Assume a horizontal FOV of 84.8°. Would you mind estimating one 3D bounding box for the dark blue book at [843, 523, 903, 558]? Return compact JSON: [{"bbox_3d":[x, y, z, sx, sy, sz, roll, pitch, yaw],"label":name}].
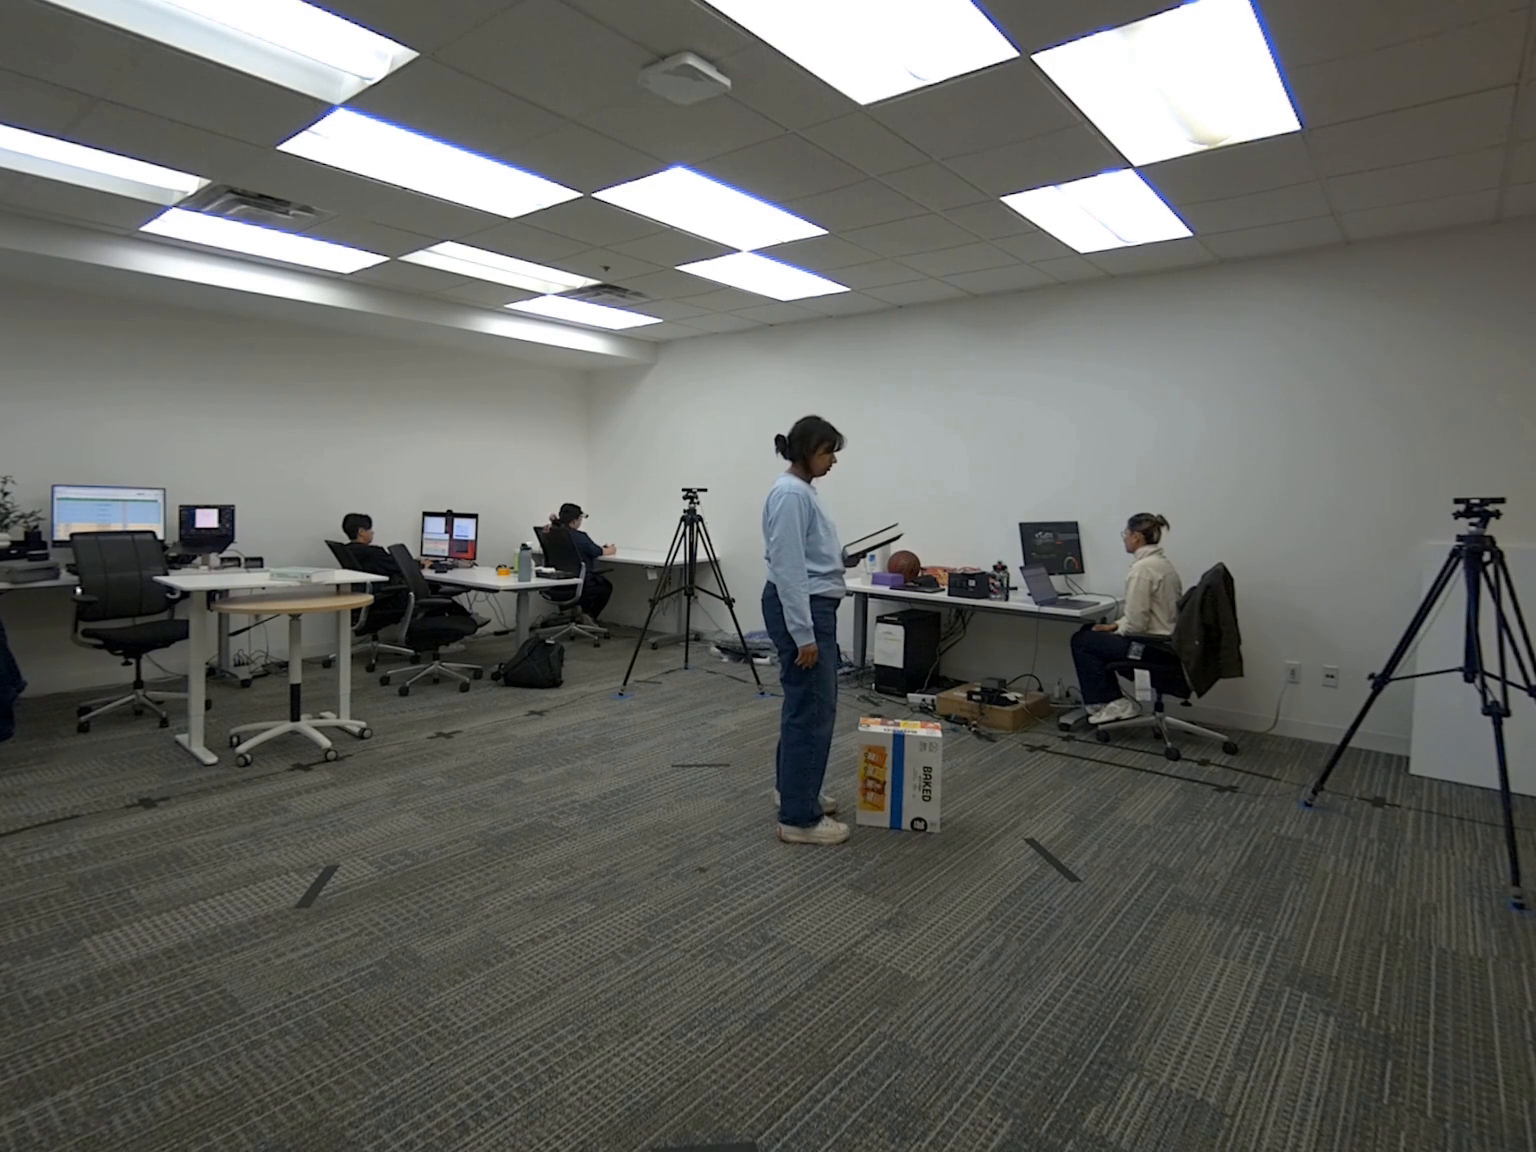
[{"bbox_3d":[0.424,-0.136,3.535,0.245,0.046,0.161,-22,-8,-2],"label":"dark blue book"}]
